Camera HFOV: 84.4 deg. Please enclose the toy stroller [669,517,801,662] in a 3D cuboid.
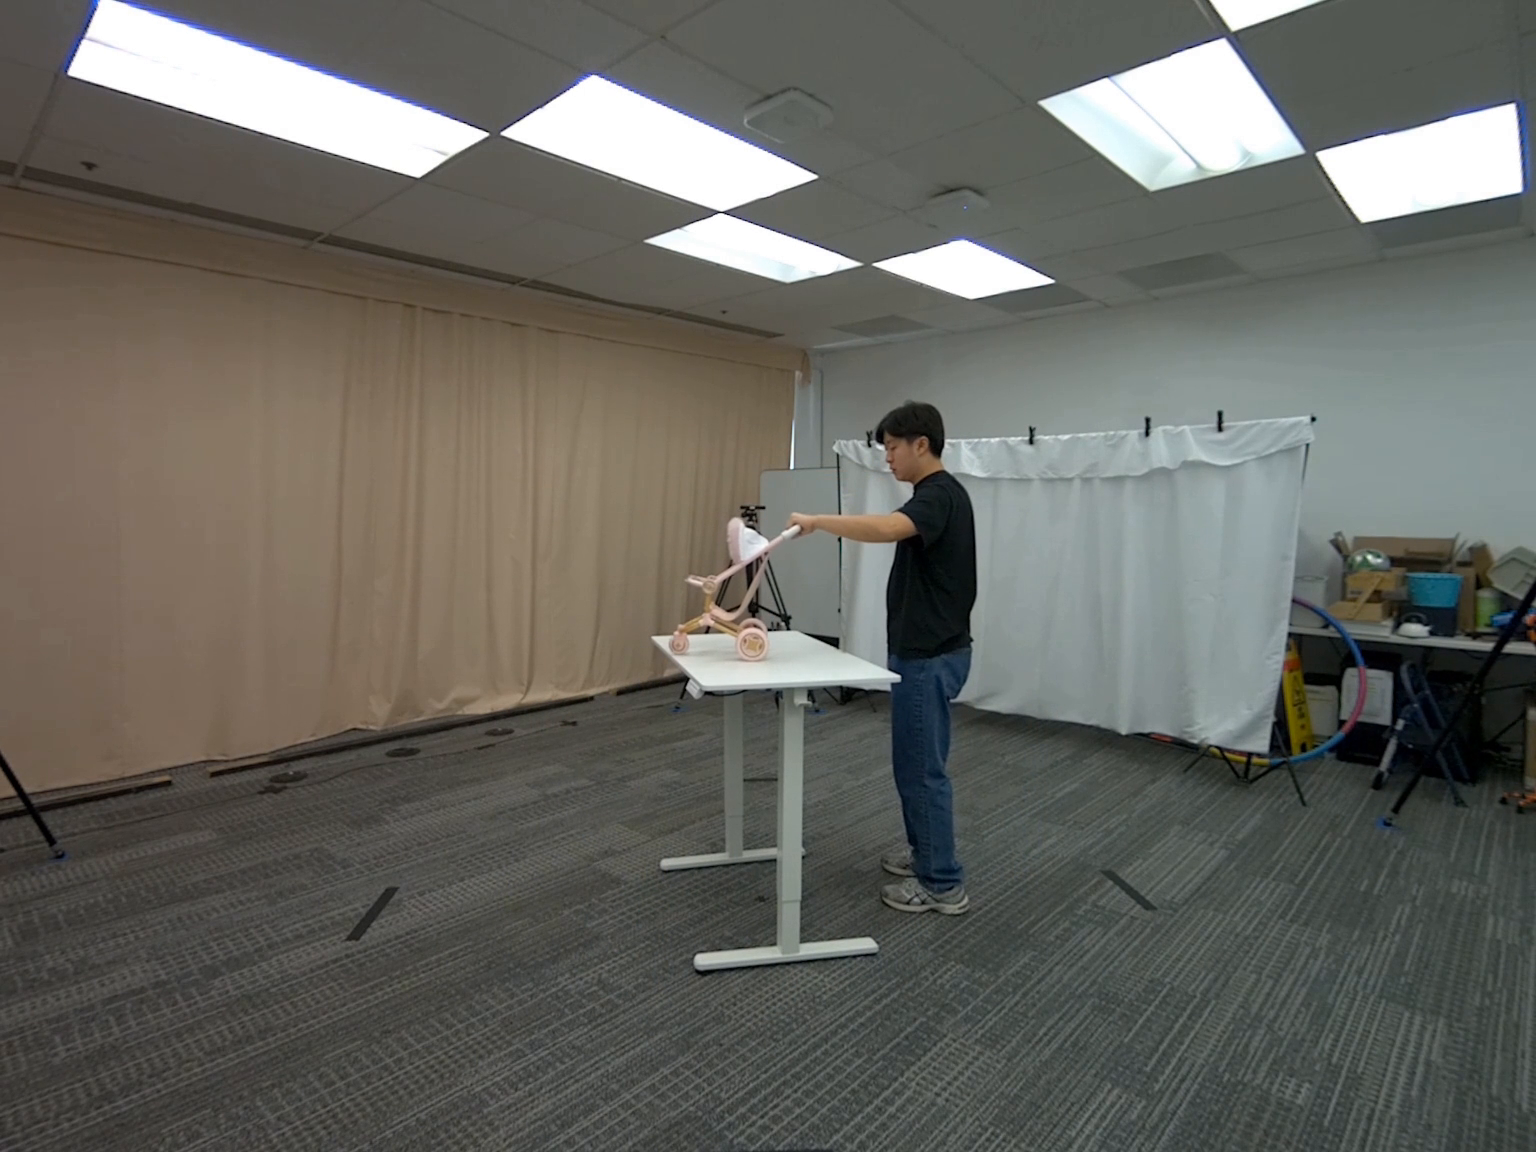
[{"bbox_3d":[-0.121,0.047,2.873,0.344,0.534,0.280,15,5,5],"label":"toy stroller"}]
